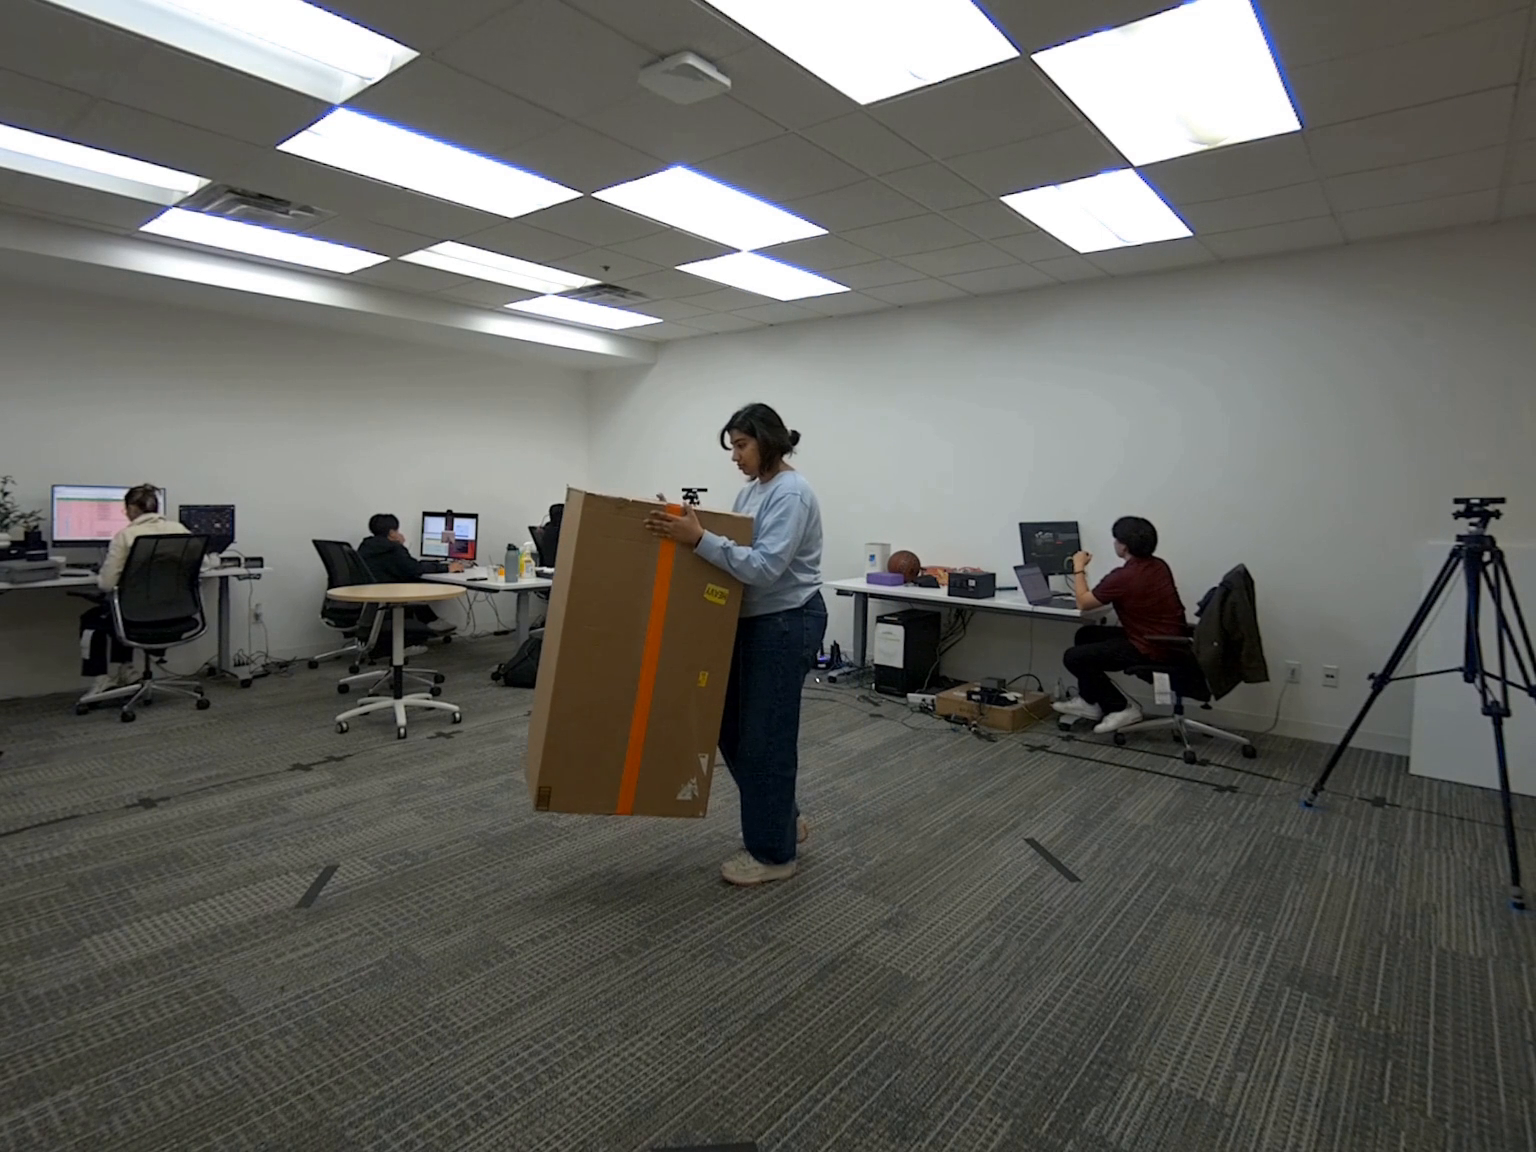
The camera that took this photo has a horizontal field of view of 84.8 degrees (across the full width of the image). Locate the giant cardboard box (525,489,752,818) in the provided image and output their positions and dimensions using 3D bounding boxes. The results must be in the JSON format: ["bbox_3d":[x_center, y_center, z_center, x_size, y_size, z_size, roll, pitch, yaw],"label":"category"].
[{"bbox_3d":[-0.476,0.247,2.937,0.571,1.025,0.458,9,3,-20],"label":"giant cardboard box"}]
